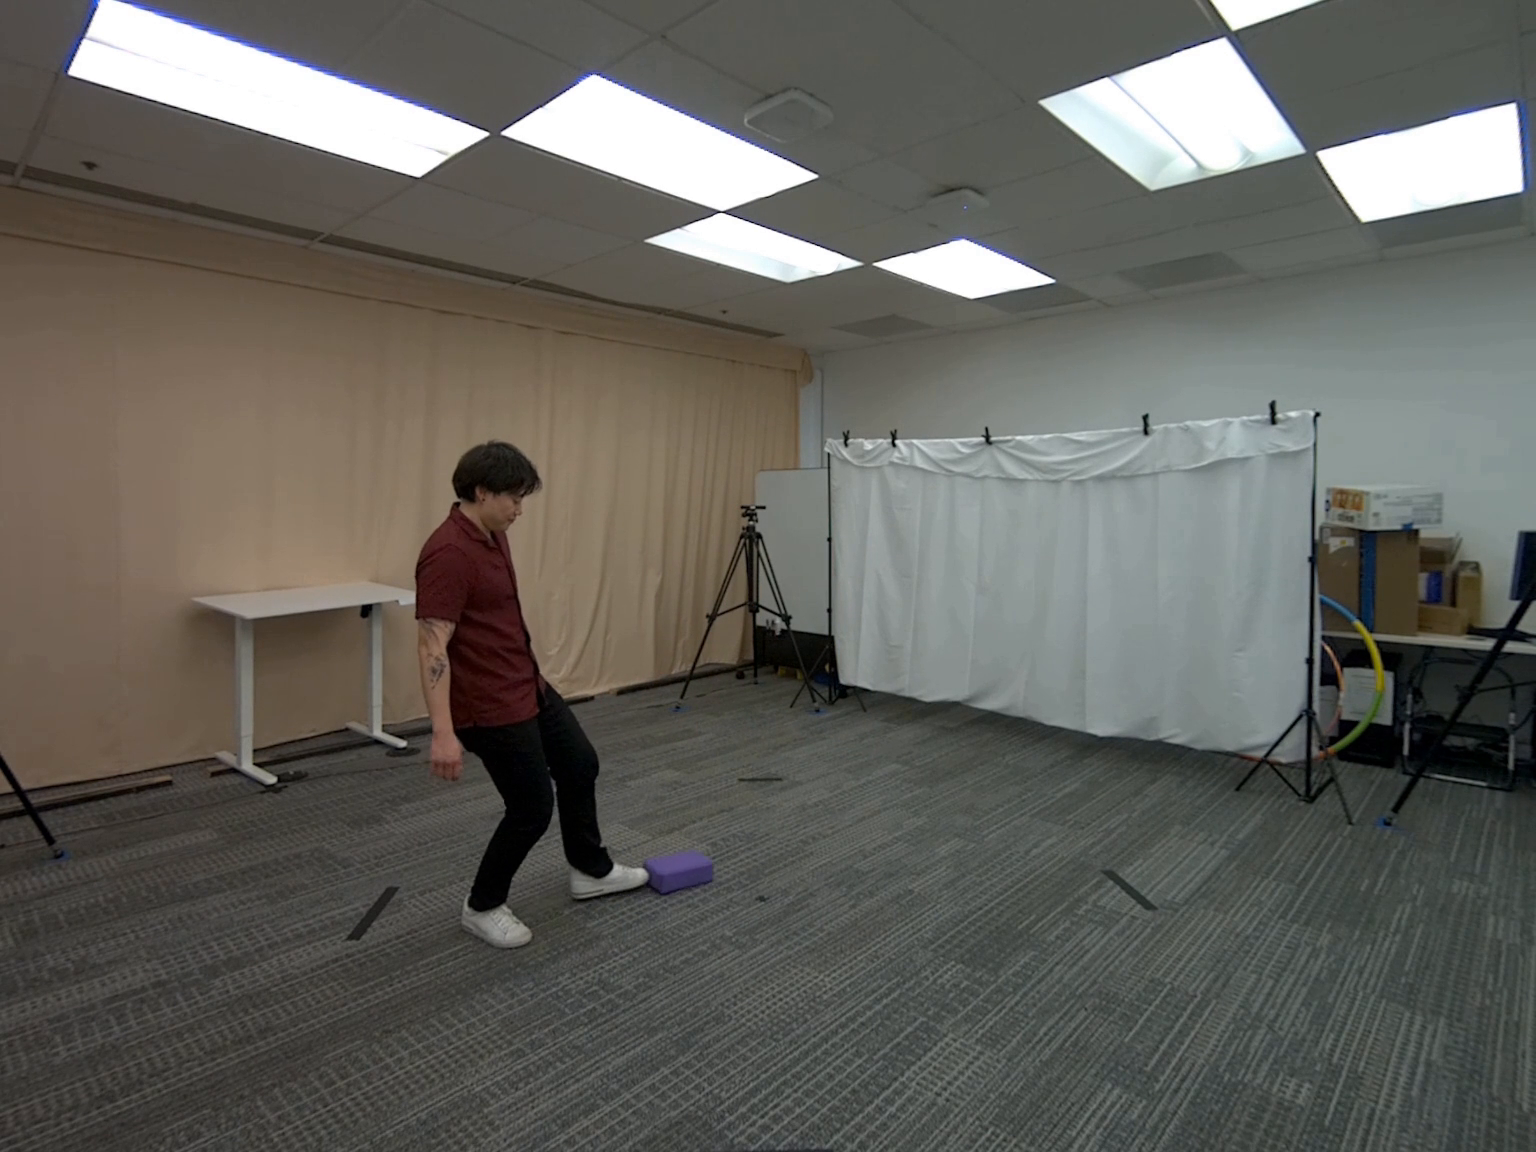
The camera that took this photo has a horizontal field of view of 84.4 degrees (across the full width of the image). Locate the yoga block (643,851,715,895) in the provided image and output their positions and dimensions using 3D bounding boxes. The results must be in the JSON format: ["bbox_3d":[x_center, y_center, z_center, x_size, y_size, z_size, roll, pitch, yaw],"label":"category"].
[{"bbox_3d":[-0.333,1.094,3.115,0.222,0.076,0.154,-2,6,-36],"label":"yoga block"}]
